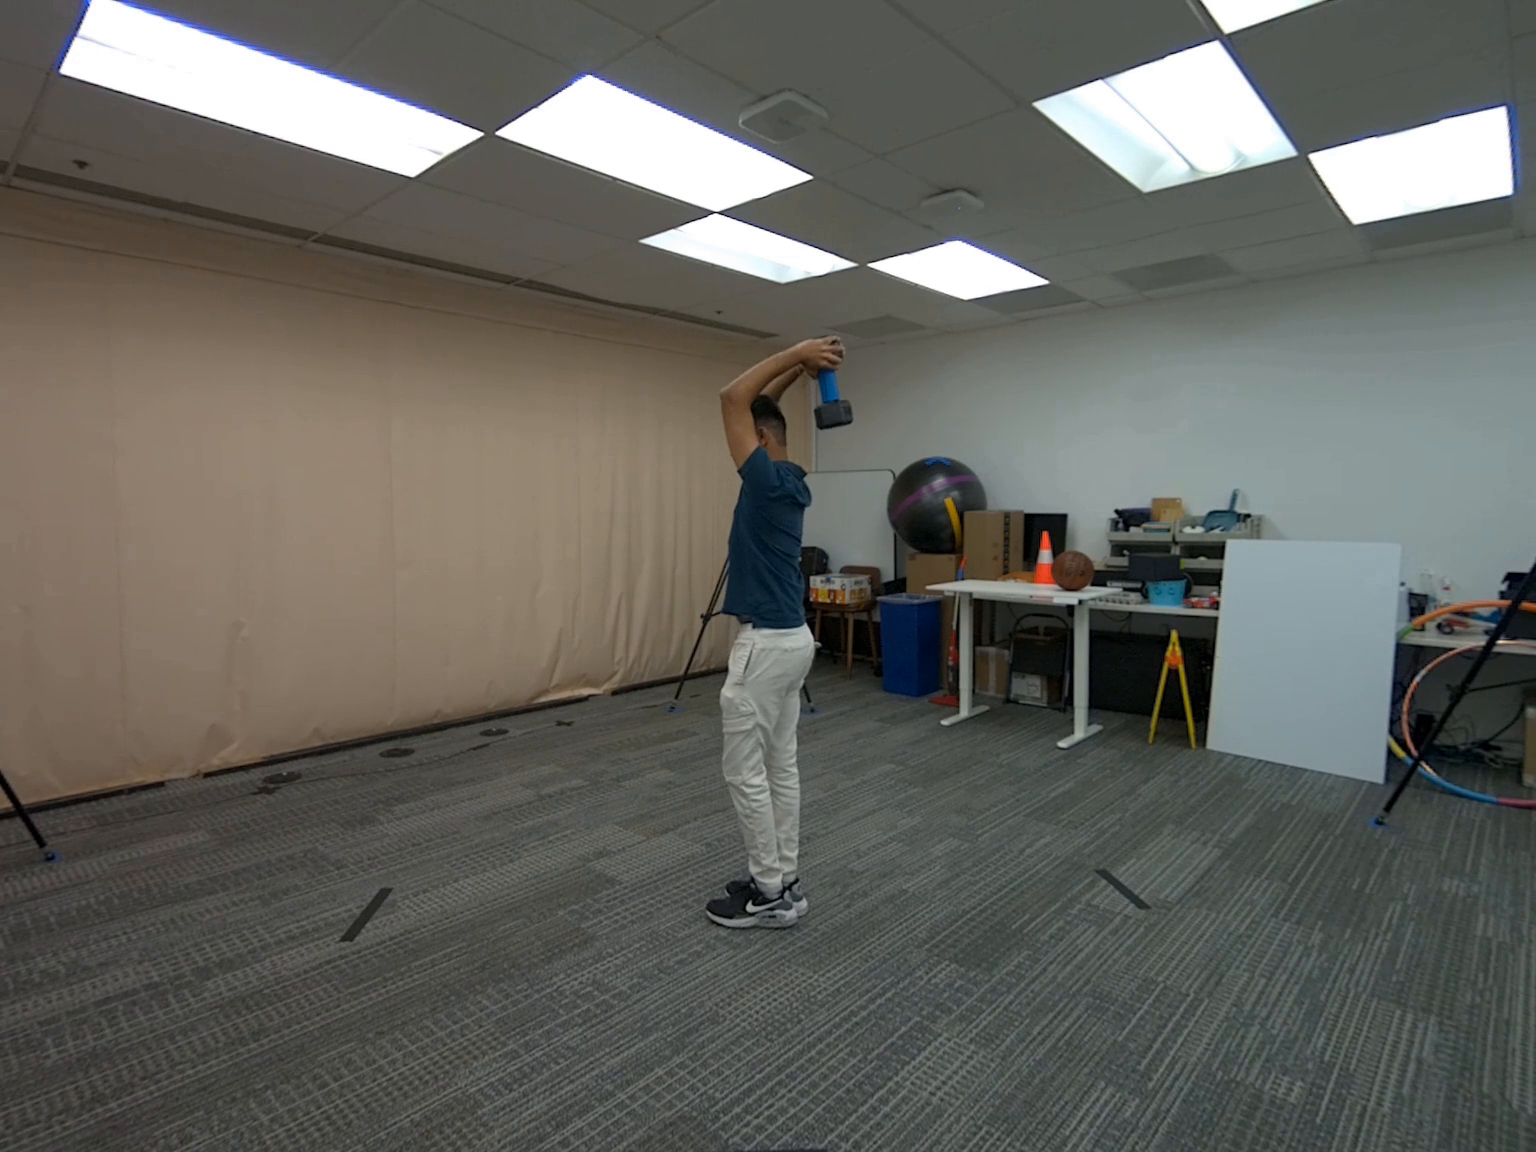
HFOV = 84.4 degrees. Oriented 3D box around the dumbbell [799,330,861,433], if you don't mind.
[{"bbox_3d":[0.200,-0.625,2.735,0.125,0.293,0.107,-12,2,15],"label":"dumbbell"}]
